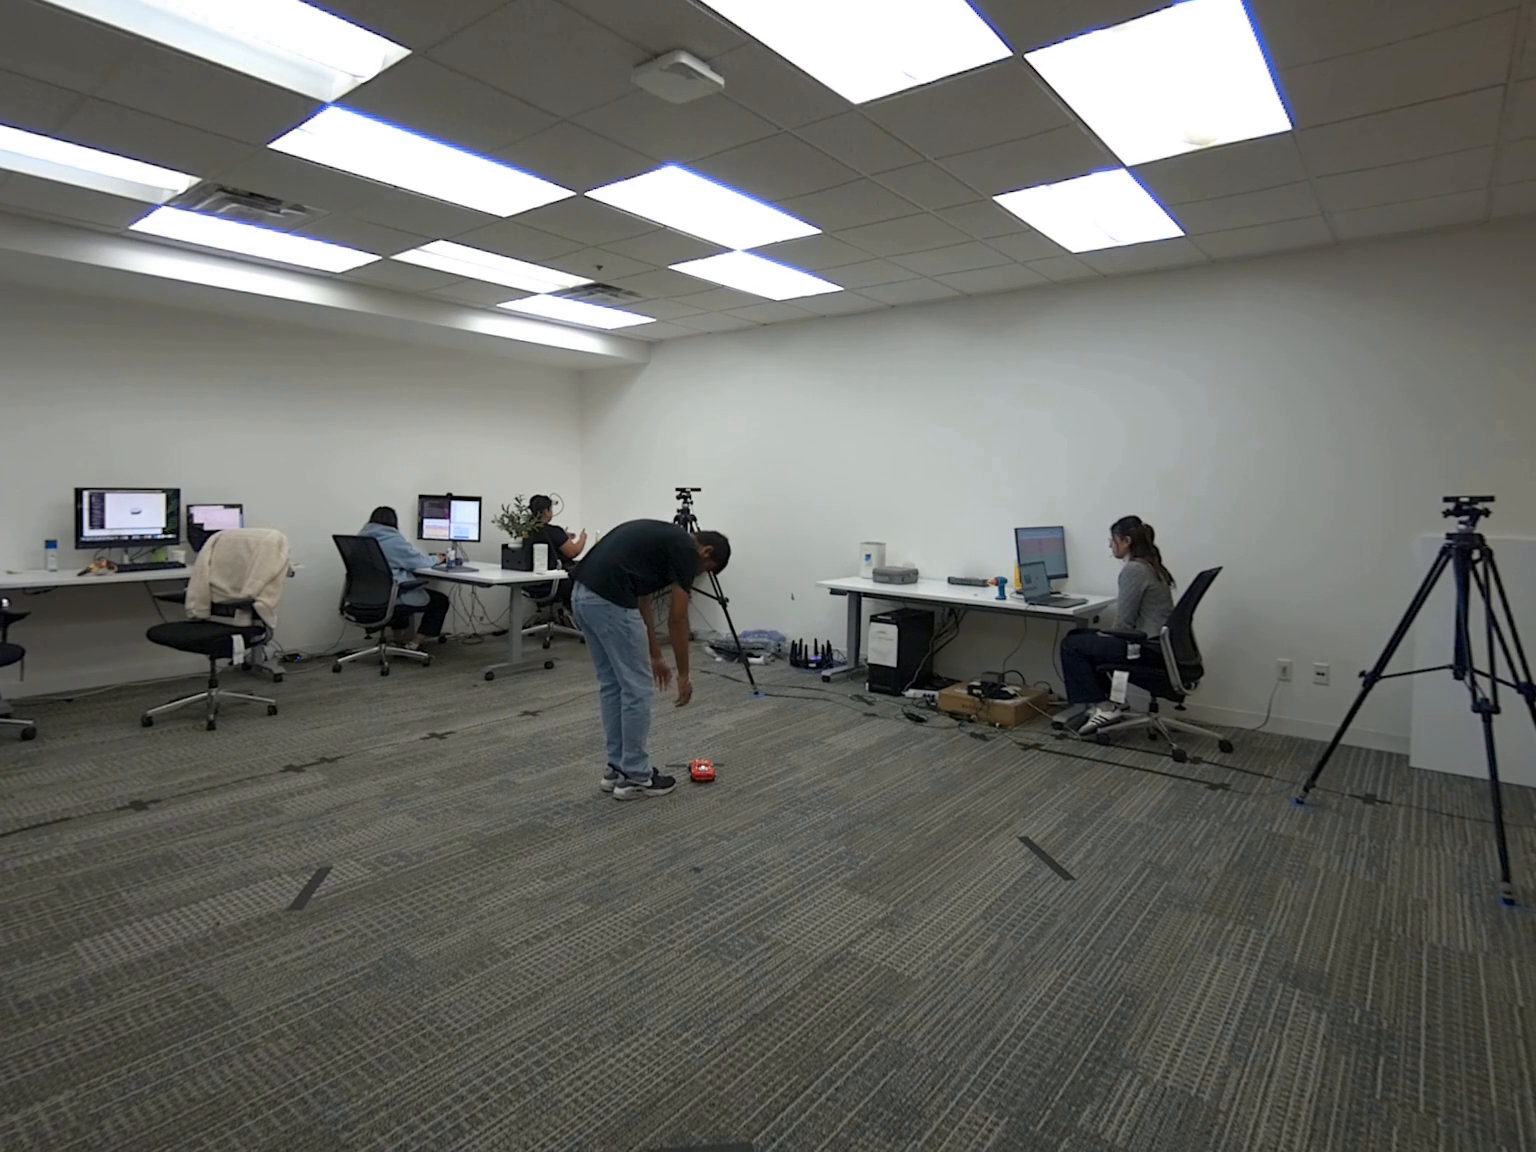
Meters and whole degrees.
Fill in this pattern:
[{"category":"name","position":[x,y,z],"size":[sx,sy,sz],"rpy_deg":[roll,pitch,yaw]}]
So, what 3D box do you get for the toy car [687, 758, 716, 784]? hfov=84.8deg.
[{"category":"toy car","position":[-0.334,0.943,4.125],"size":[0.129,0.084,0.255],"rpy_deg":[0,-5,-8]}]
